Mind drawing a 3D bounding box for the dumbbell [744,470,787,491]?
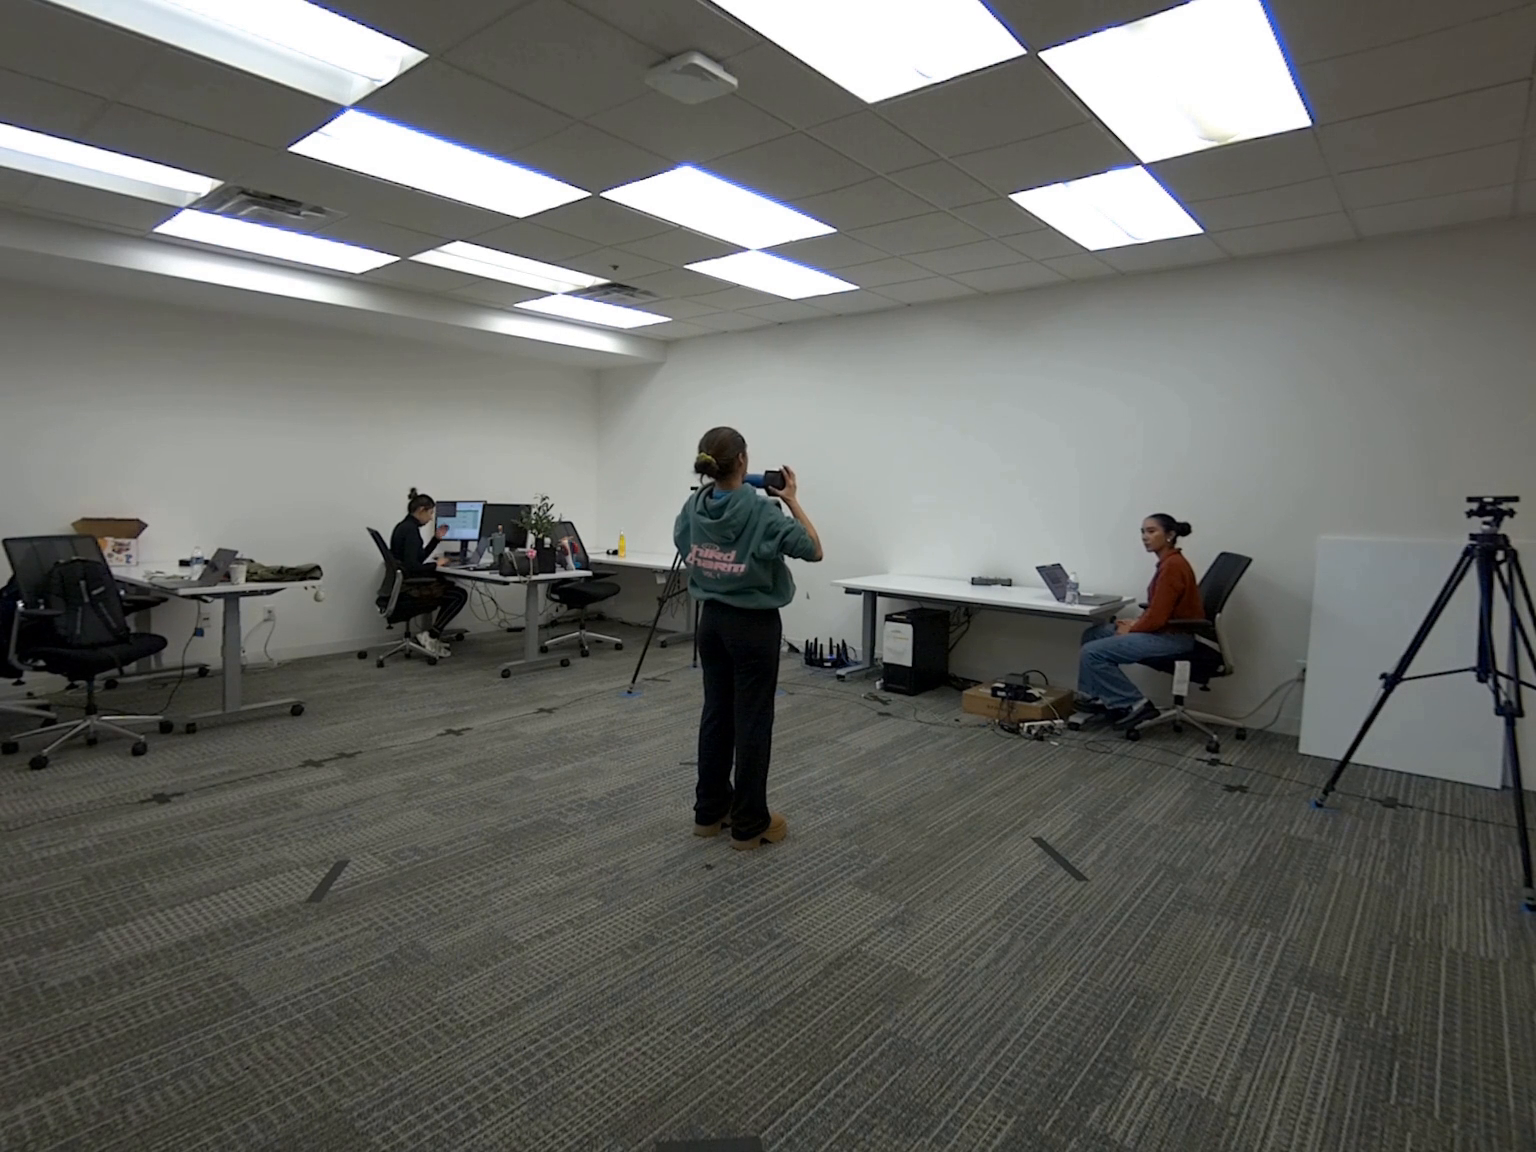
[{"bbox_3d":[-0.069,-0.382,3.397,0.303,0.124,0.104,8,-15,32],"label":"dumbbell"}]
